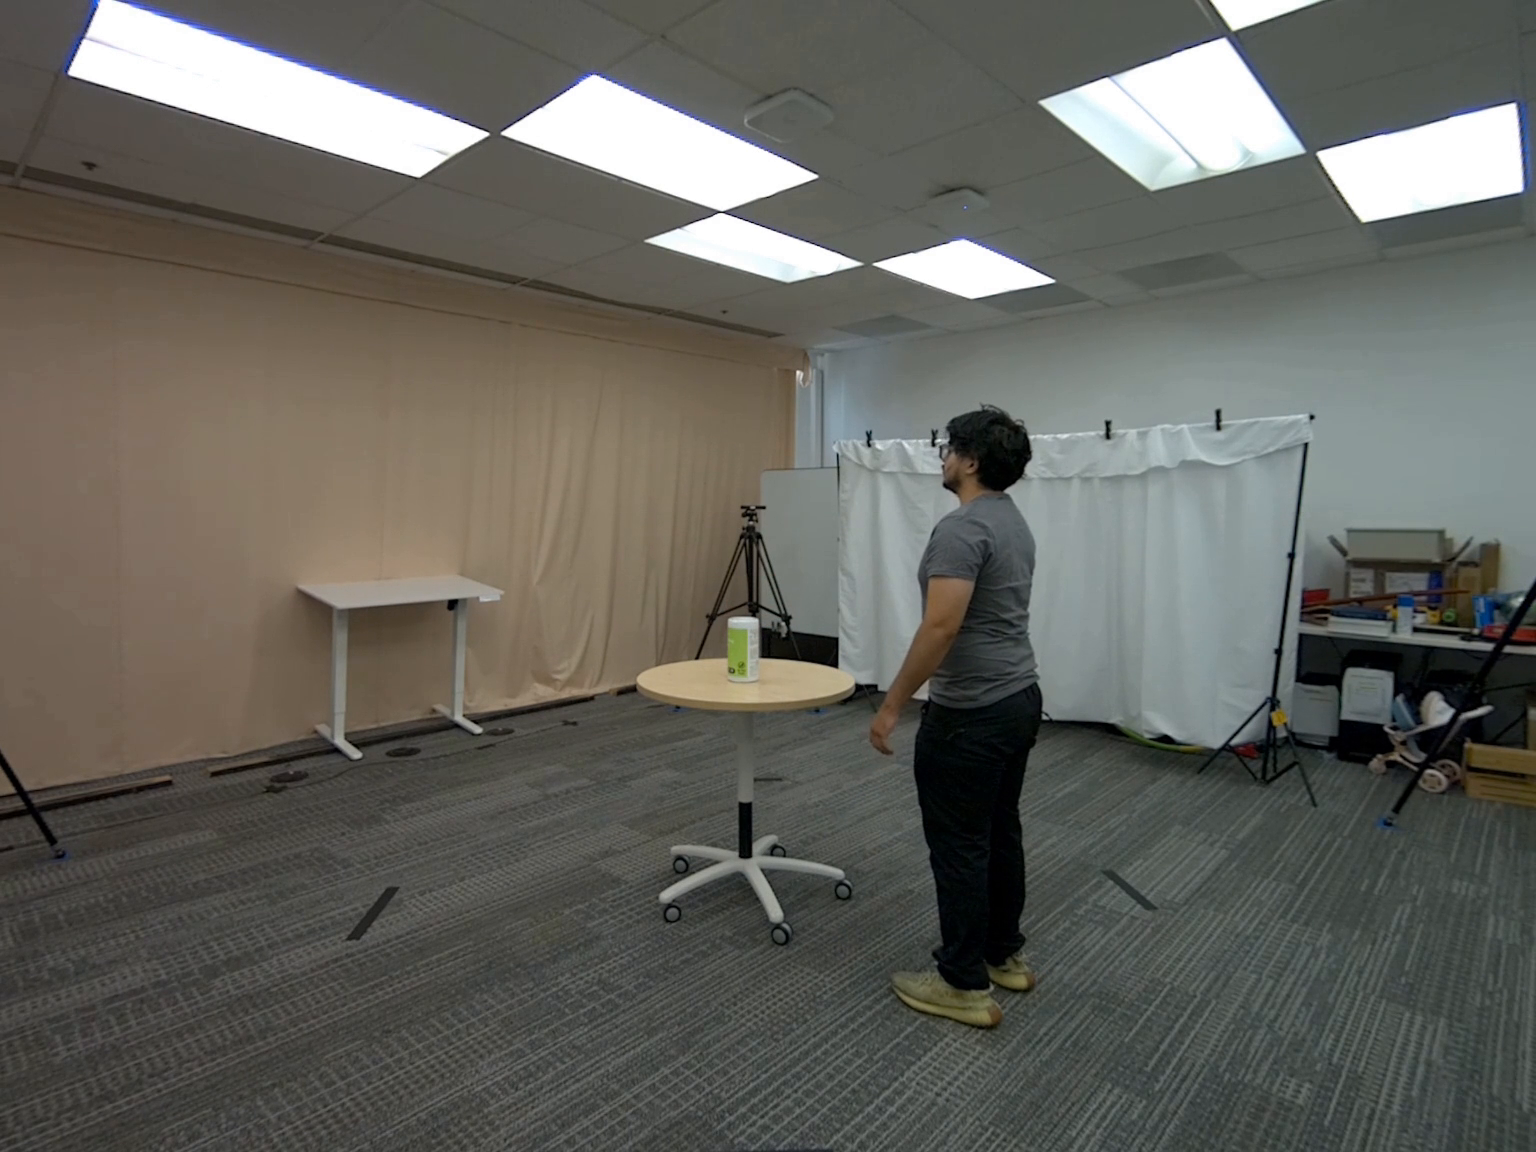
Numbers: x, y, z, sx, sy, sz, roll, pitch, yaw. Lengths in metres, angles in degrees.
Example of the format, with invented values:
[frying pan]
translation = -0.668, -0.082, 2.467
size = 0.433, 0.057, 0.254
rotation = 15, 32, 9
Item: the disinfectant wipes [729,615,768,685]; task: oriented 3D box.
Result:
[disinfectant wipes]
translation = -0.071, 0.253, 2.933
size = 0.117, 0.217, 0.118
rotation = 2, 3, -2
